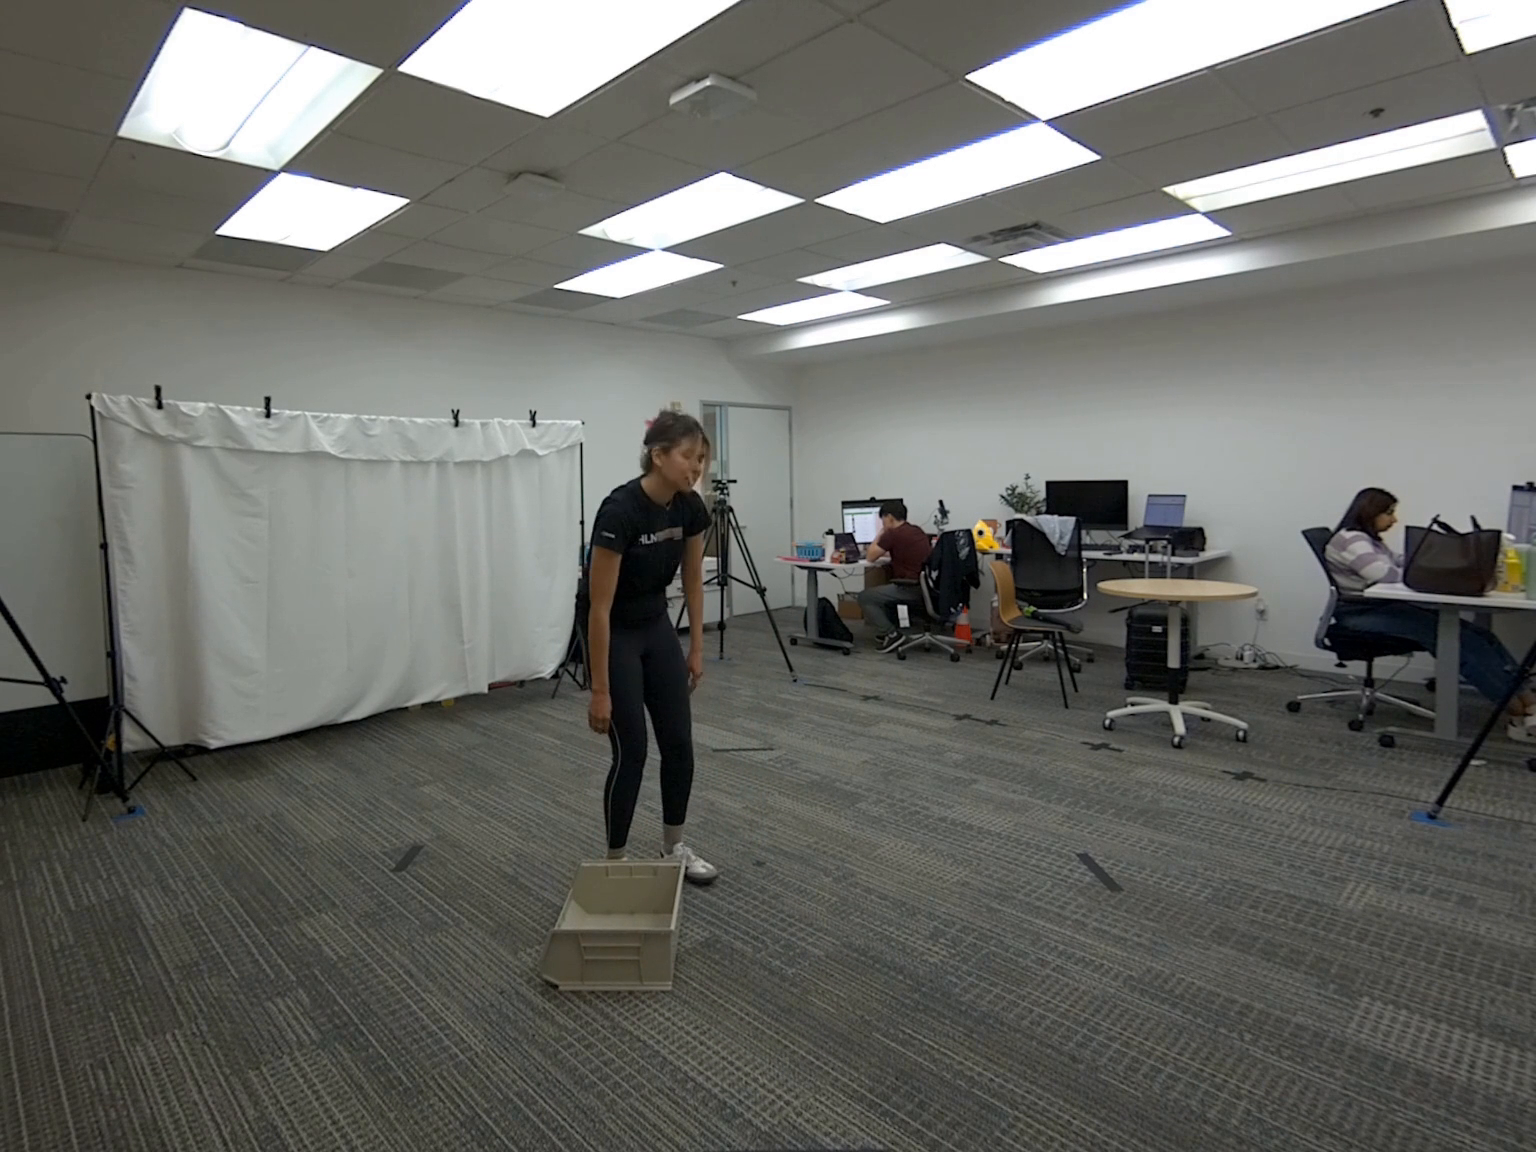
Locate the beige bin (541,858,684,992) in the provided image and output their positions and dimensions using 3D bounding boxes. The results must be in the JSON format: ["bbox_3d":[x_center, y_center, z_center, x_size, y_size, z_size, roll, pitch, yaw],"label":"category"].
[{"bbox_3d":[-0.447,1.032,2.551,0.378,0.188,0.424,0,5,0],"label":"beige bin"}]
